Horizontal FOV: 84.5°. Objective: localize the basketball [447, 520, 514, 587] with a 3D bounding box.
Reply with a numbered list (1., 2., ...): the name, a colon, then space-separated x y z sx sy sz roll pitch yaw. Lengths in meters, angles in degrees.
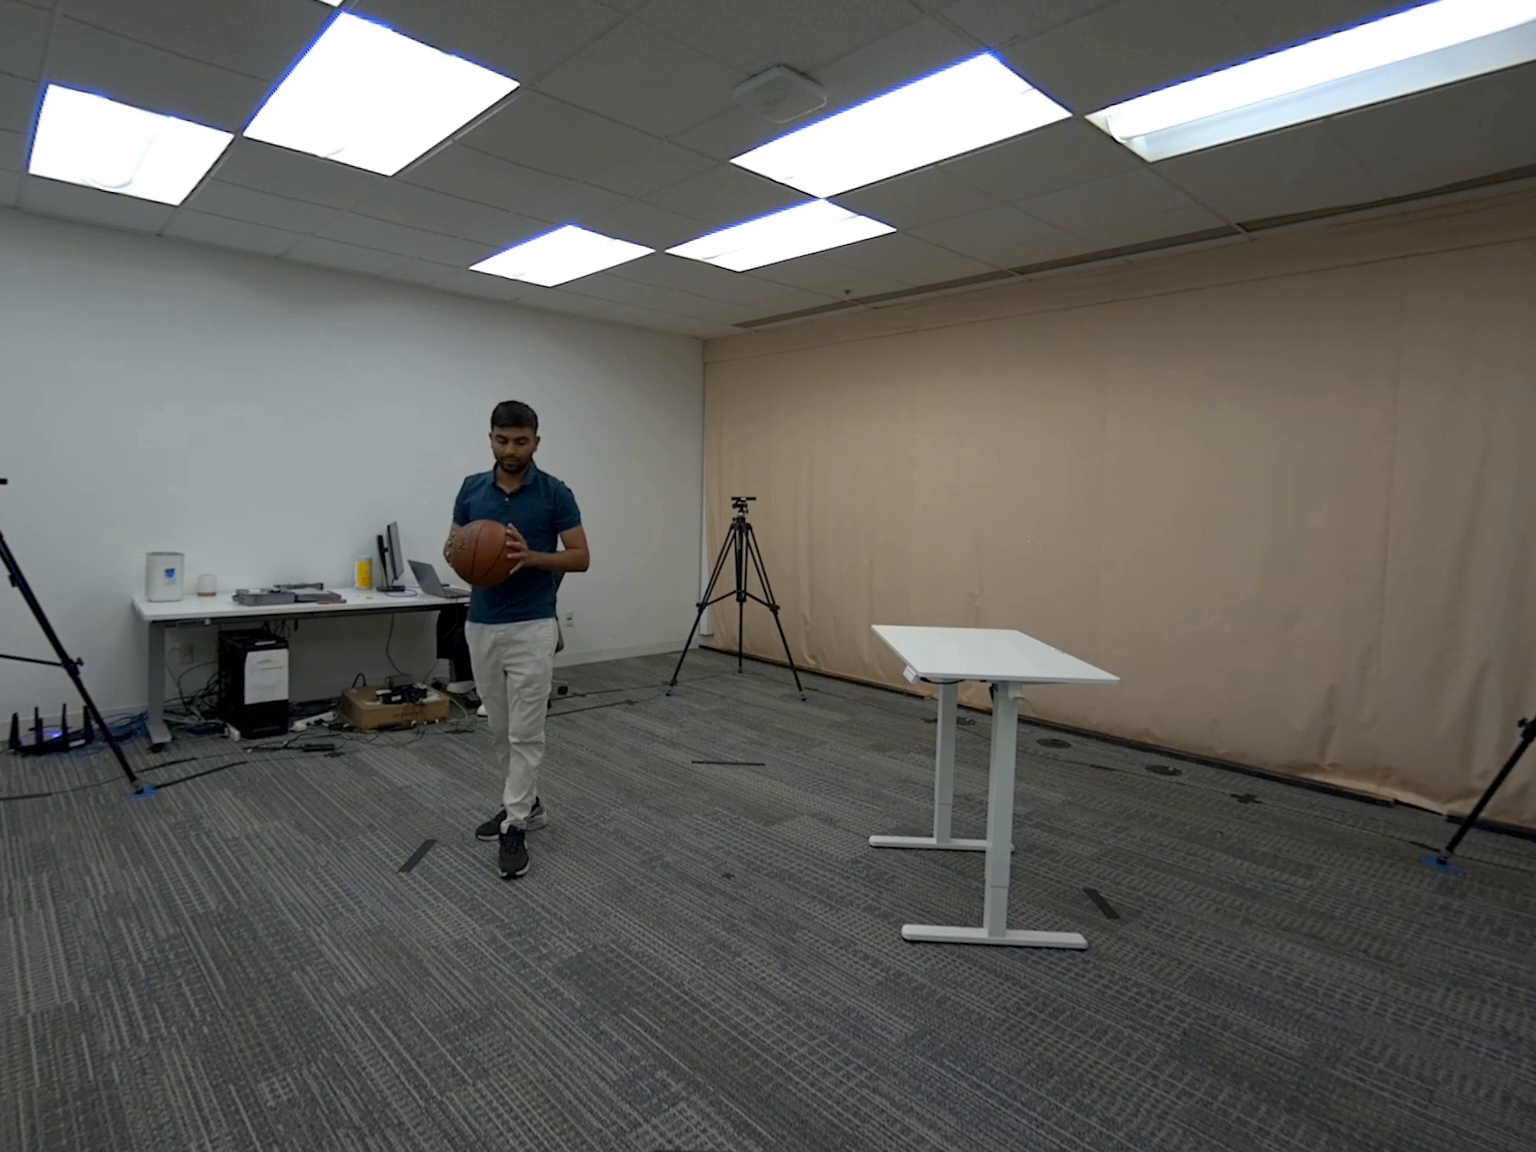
1. basketball: -1.021 -0.083 2.975 0.236 0.235 0.237 1 4 -1
